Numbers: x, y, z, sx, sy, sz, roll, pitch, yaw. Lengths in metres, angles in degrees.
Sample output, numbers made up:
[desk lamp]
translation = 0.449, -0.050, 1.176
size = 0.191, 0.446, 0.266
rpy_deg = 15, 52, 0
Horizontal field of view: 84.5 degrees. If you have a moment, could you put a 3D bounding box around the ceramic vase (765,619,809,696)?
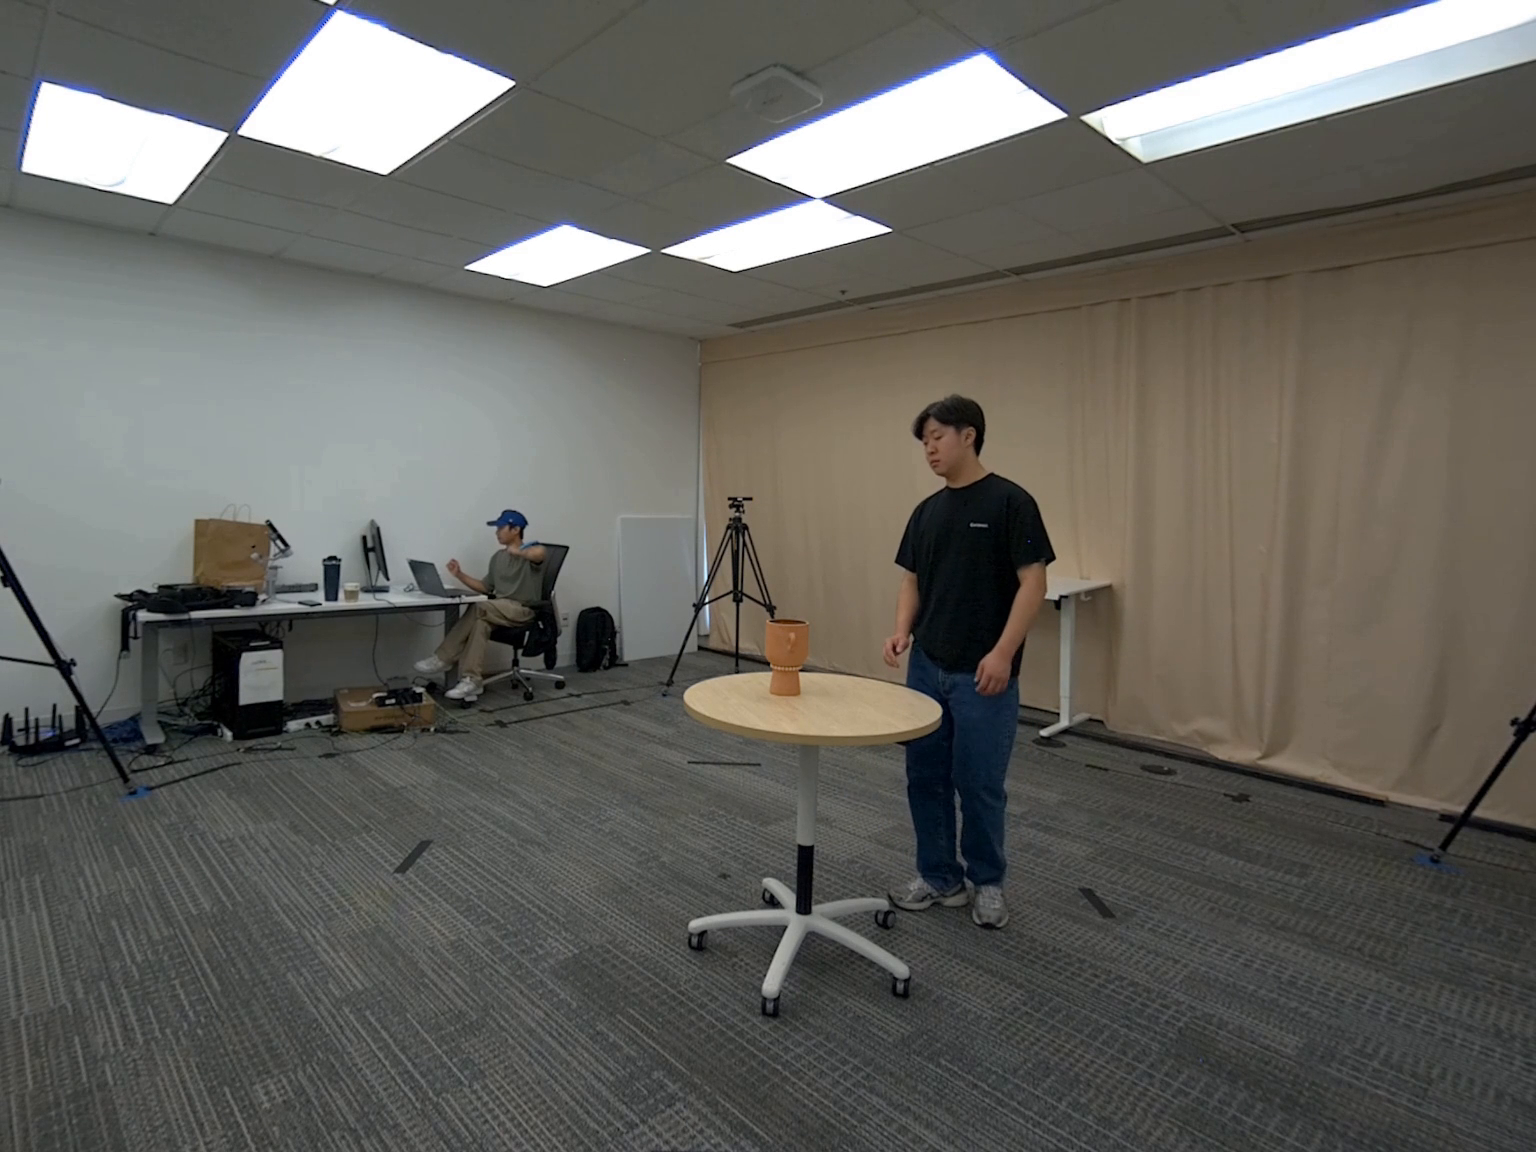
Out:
[ceramic vase]
translation = 0.059, 0.252, 2.590
size = 0.137, 0.219, 0.156
rpy_deg = 4, 5, 30
